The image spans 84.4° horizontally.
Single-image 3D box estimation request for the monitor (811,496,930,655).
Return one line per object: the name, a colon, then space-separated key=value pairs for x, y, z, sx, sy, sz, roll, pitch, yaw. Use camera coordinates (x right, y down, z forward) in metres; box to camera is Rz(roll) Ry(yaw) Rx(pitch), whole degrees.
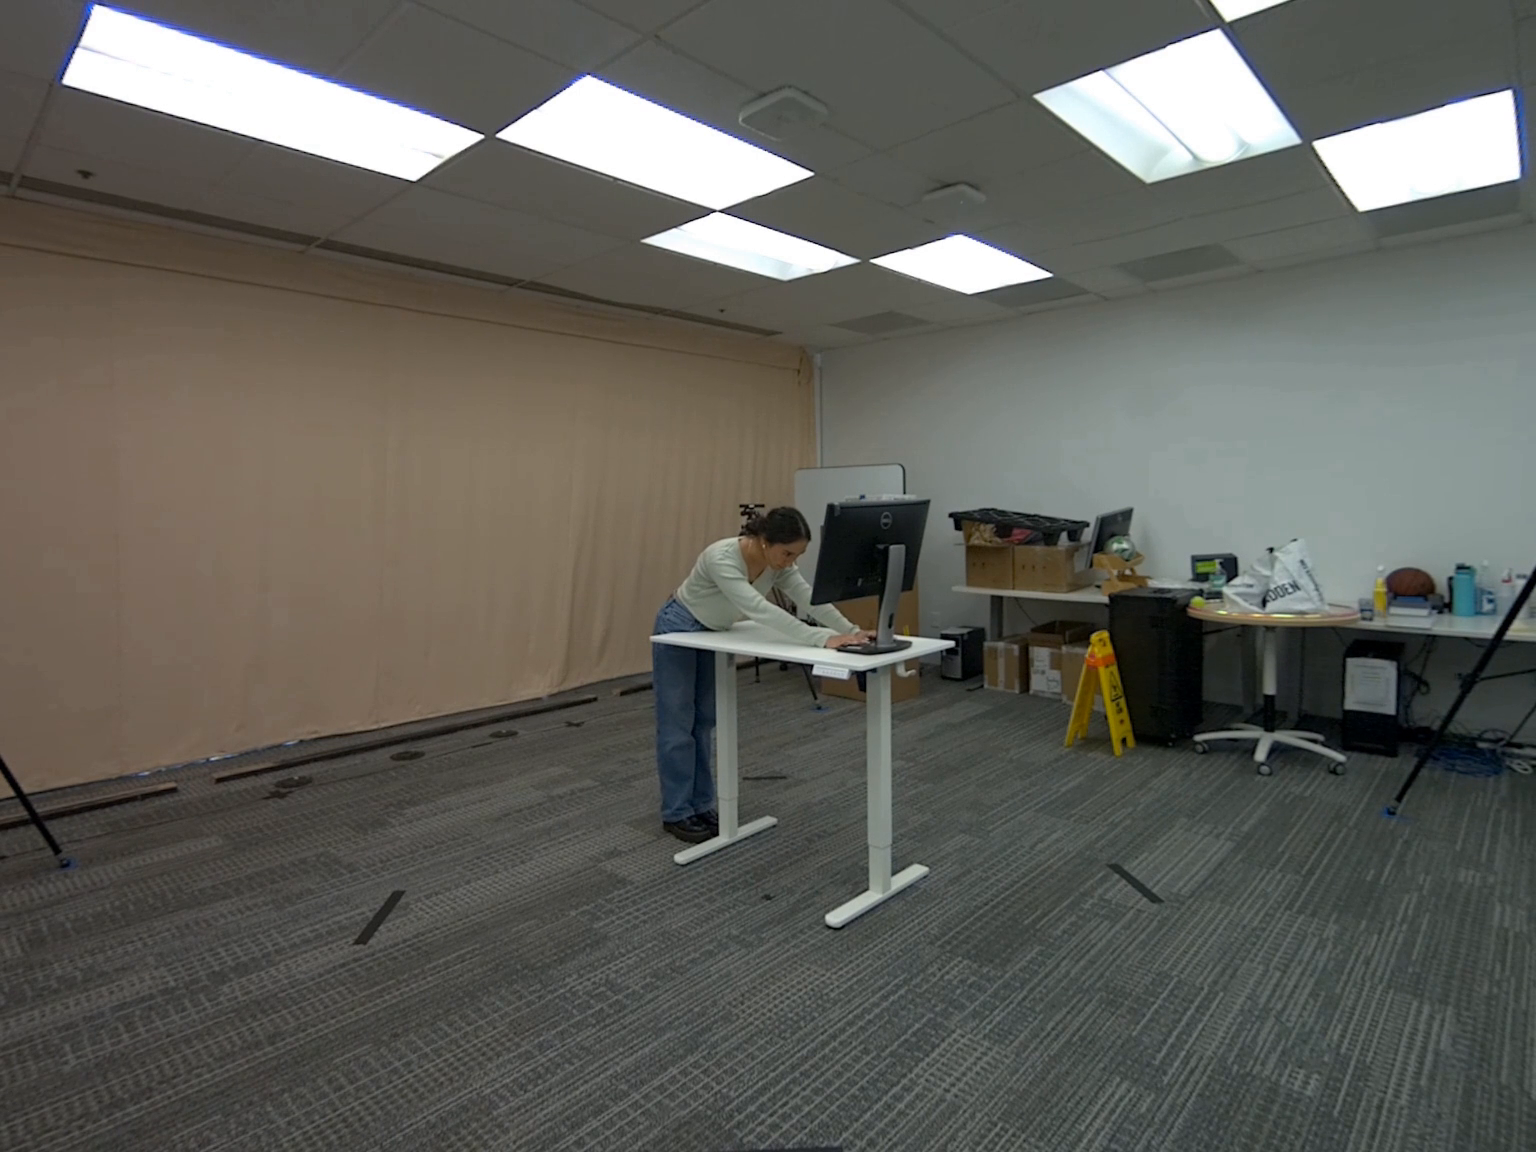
monitor: x=0.403 y=0.000 z=2.912 sx=0.523 sy=0.520 sz=0.193 roll=-6 pitch=8 yaw=-43
